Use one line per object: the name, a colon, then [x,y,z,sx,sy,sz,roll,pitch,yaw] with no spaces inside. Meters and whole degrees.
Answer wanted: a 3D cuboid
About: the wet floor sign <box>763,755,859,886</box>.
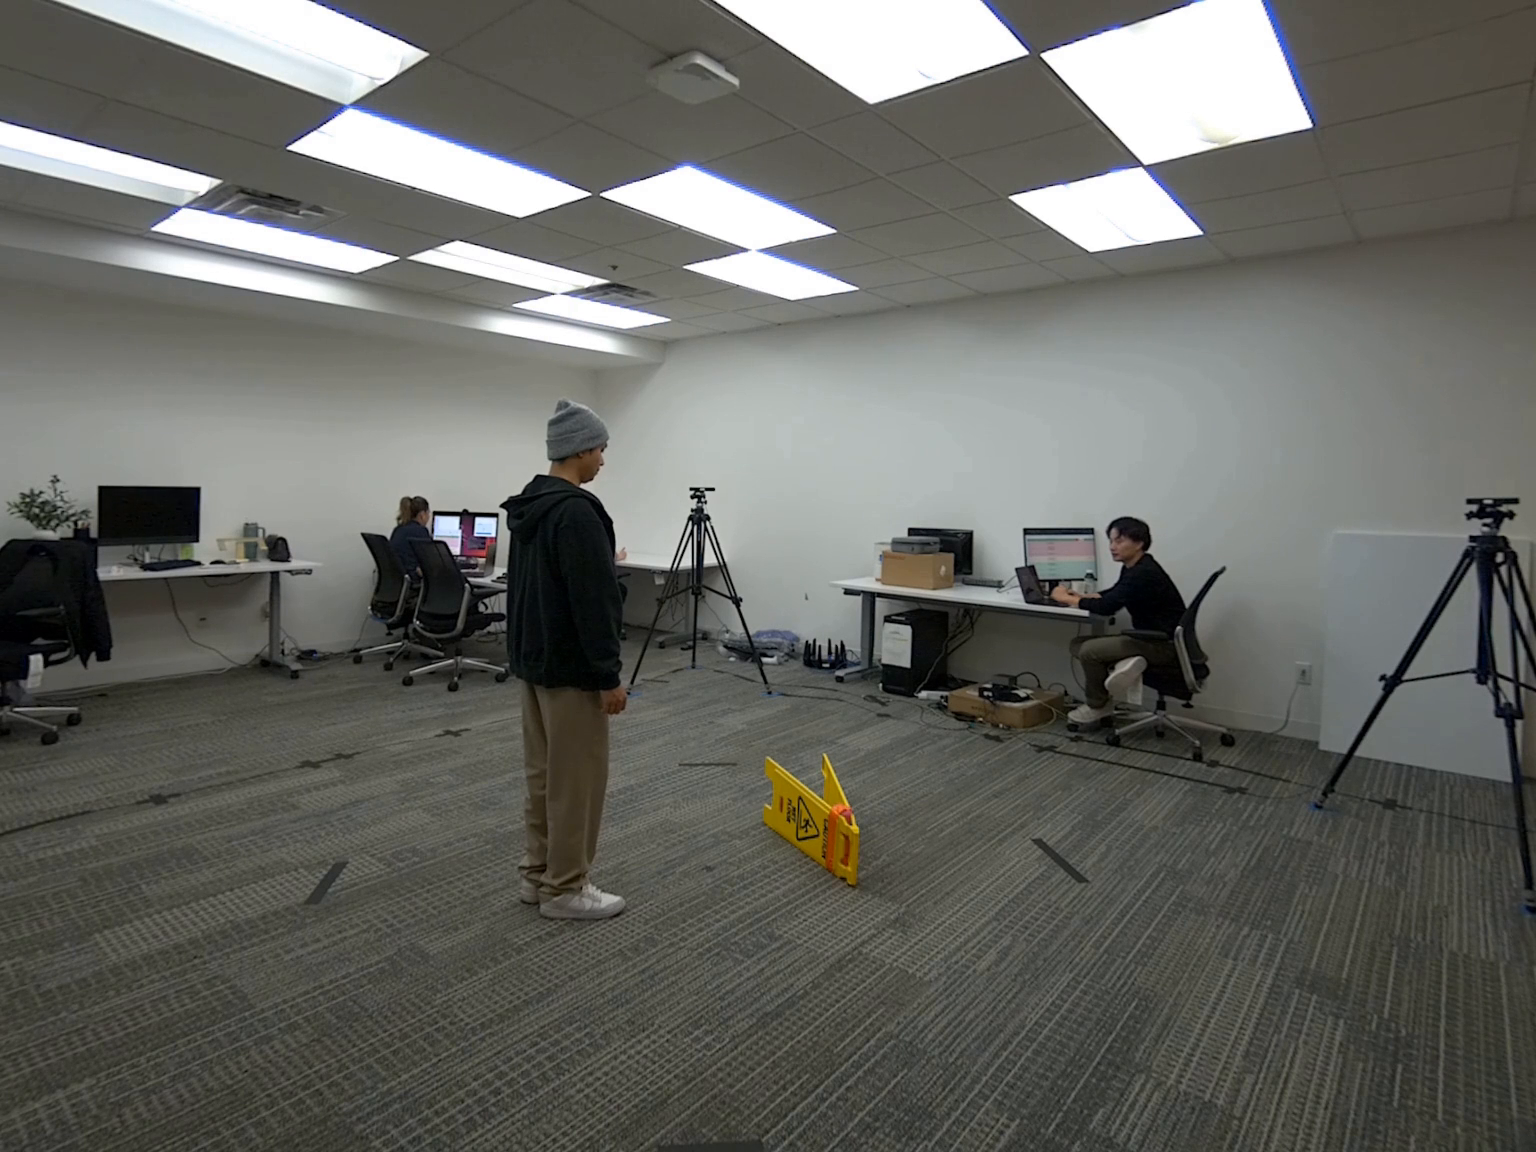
wet floor sign: [0.205,0.932,3.276,0.285,0.280,0.661,0,9,-17]
